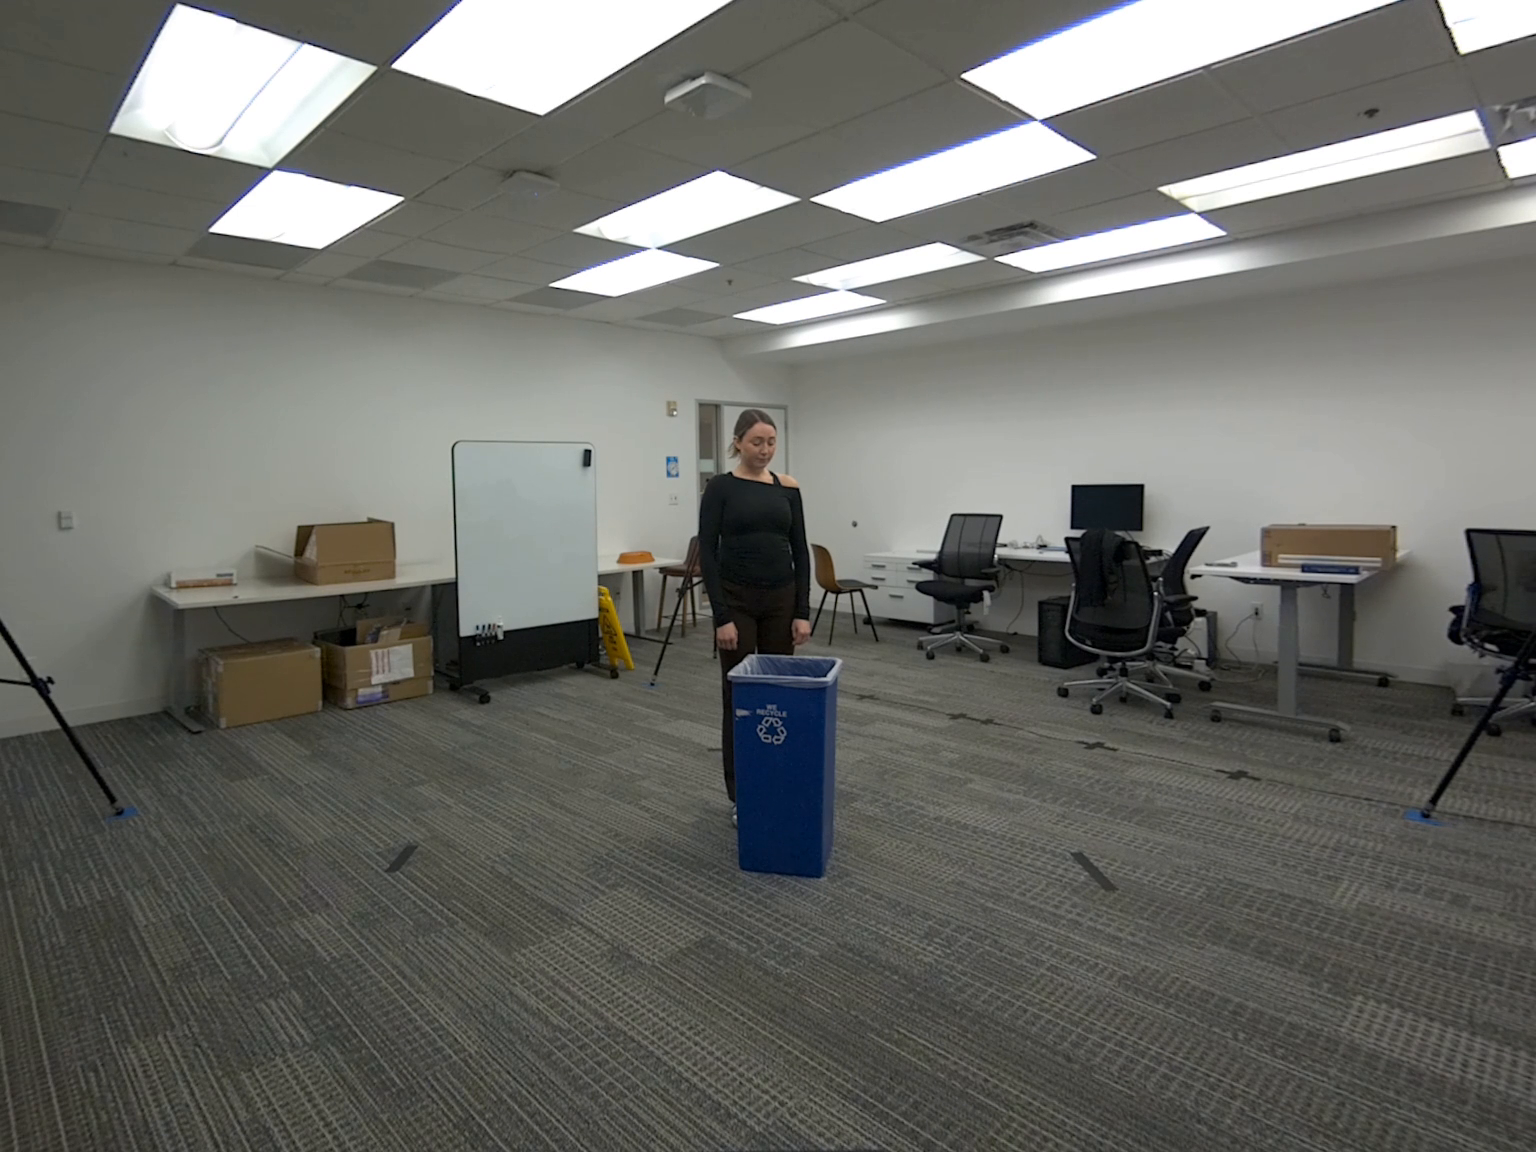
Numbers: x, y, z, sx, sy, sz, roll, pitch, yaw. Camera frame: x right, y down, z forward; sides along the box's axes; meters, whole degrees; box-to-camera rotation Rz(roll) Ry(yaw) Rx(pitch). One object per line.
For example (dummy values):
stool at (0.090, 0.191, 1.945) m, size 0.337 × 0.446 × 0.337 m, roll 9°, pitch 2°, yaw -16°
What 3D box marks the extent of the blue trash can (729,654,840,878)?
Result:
blue trash can at (0.075, 0.683, 3.139) m, size 0.379 × 0.711 × 0.374 m, roll 0°, pitch 4°, yaw 14°
